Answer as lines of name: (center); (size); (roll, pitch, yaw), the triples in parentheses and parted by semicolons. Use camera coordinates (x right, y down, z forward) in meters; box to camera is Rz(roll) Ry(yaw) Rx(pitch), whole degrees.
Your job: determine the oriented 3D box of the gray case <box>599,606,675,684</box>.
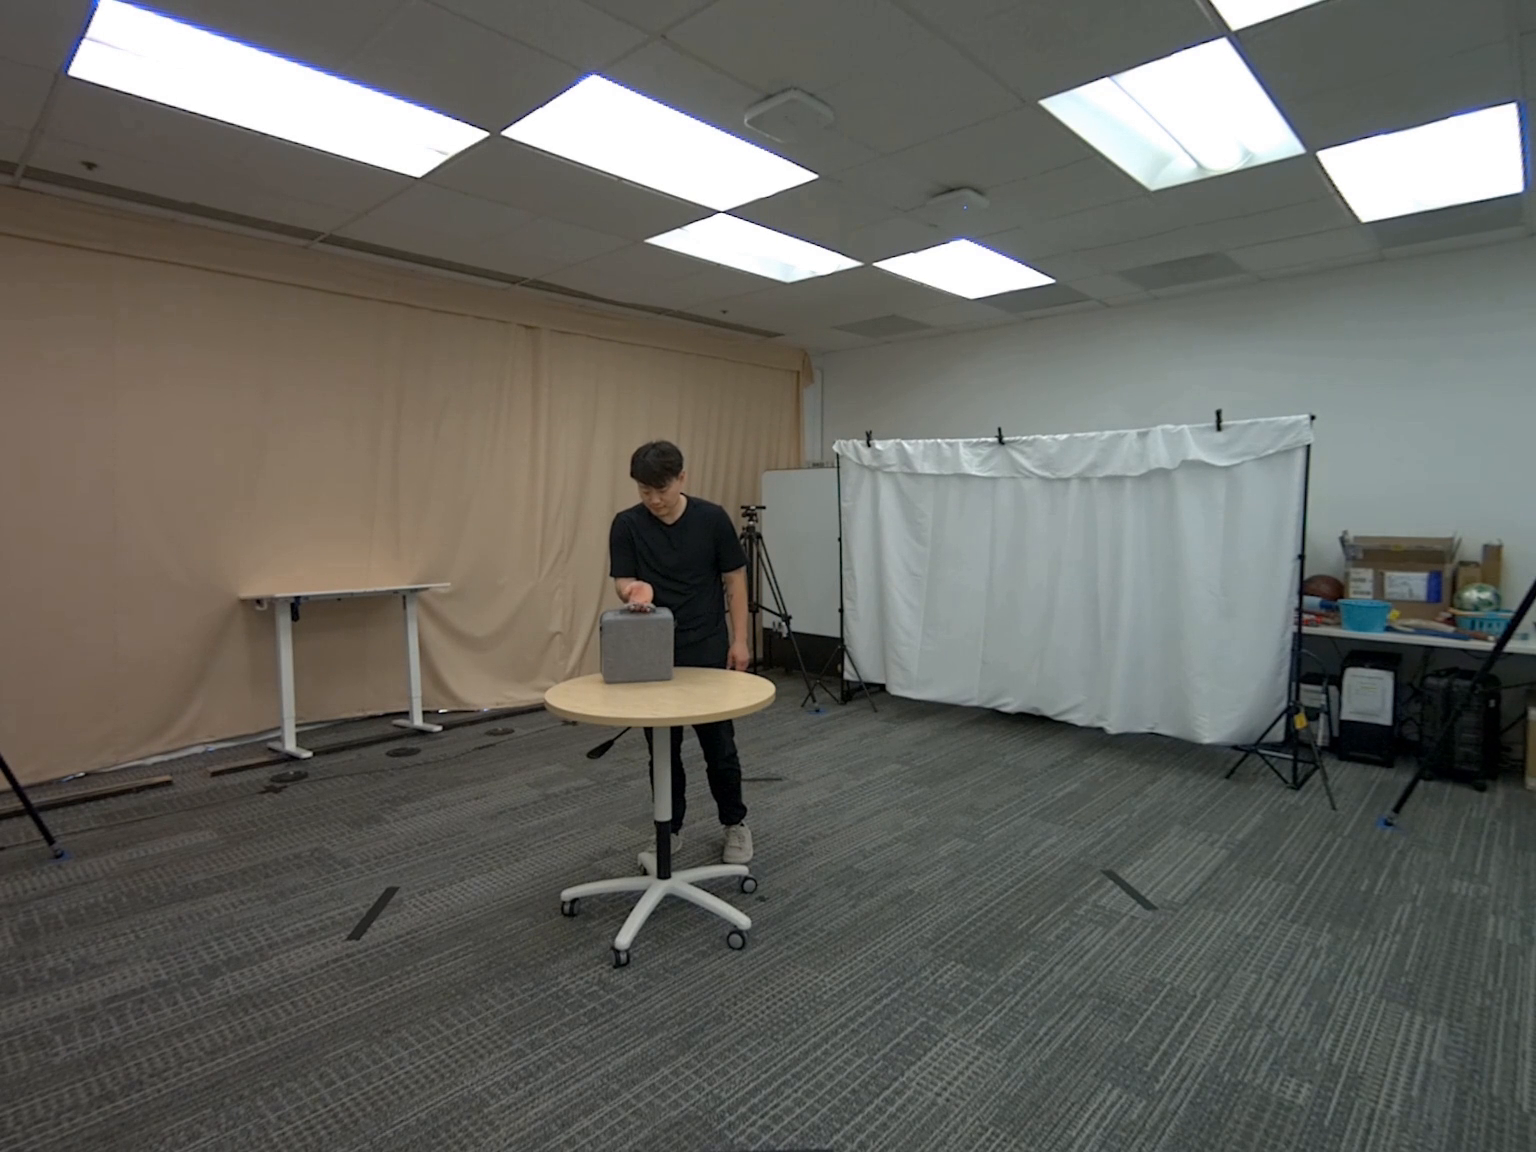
gray case: (-0.459, 0.240, 2.944); (0.254, 0.258, 0.106); (-1, 15, -10)
